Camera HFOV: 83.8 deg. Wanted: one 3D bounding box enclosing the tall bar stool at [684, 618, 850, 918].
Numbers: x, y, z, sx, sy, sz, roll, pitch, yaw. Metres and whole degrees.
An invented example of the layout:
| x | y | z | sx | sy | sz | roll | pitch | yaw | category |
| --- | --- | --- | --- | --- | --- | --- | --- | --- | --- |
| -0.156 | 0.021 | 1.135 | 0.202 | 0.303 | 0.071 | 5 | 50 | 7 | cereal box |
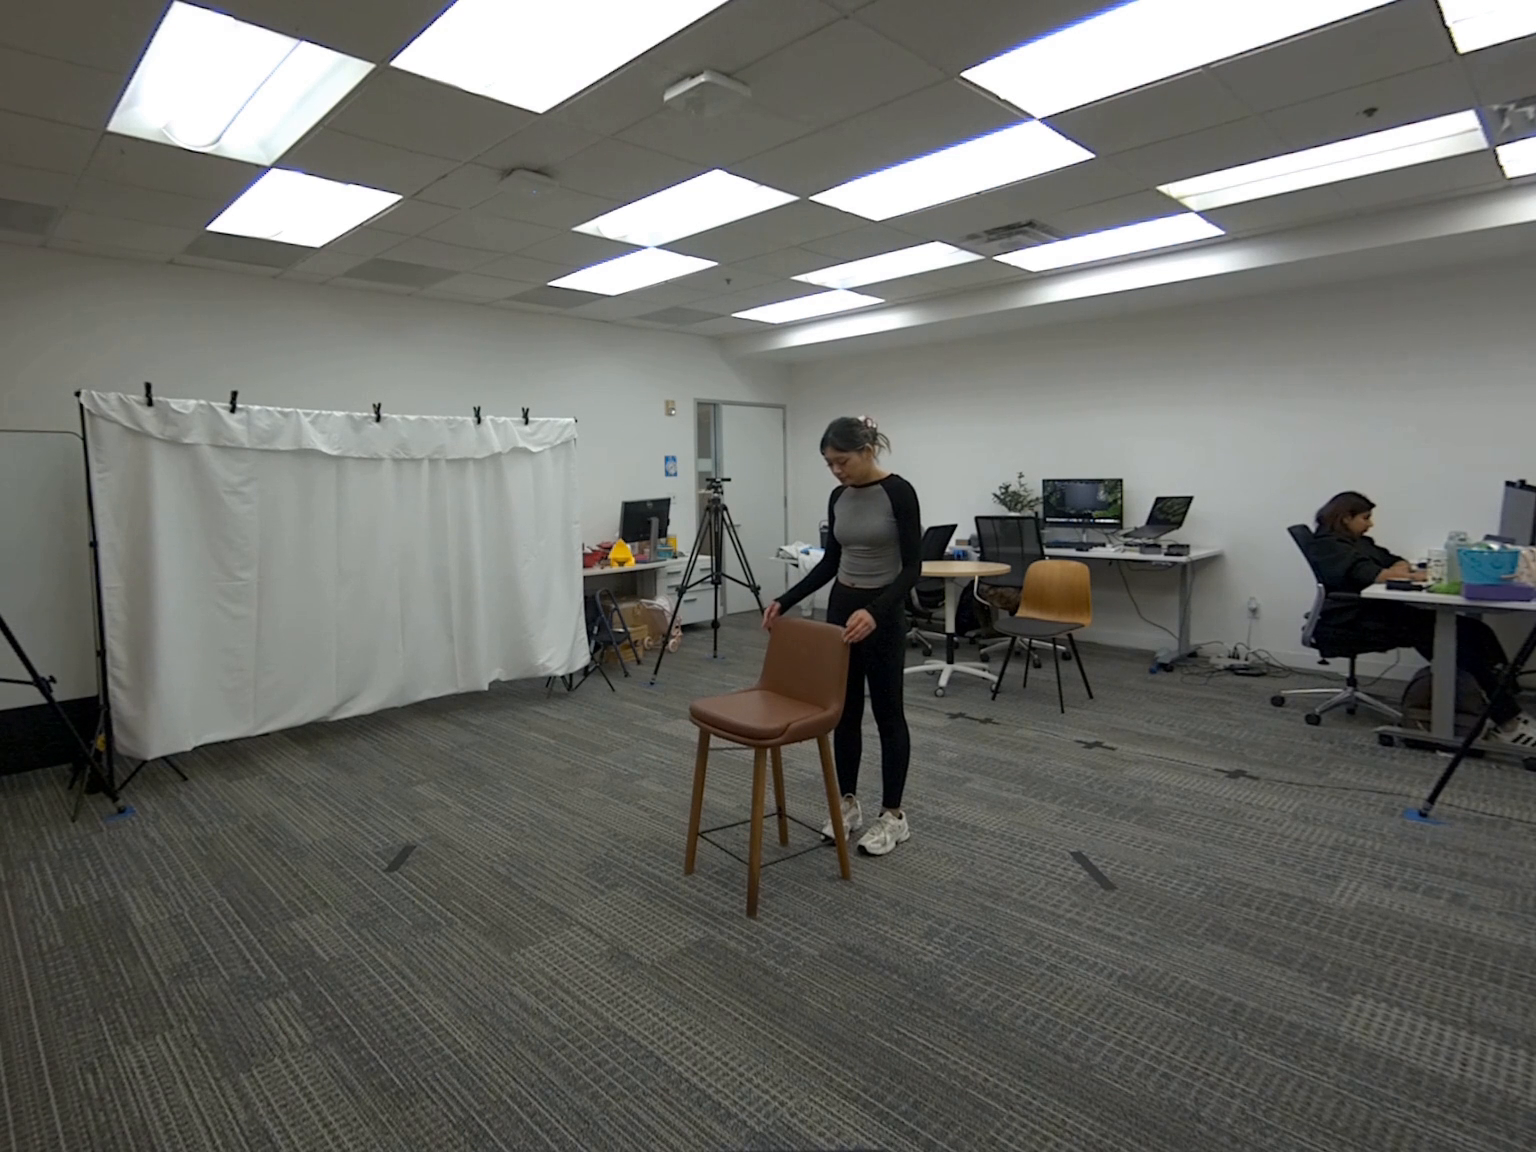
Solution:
| x | y | z | sx | sy | sz | roll | pitch | yaw | category |
| --- | --- | --- | --- | --- | --- | --- | --- | --- | --- |
| 0.006 | 0.618 | 2.974 | 0.455 | 0.888 | 0.470 | -1 | 3 | -36 | tall bar stool |
